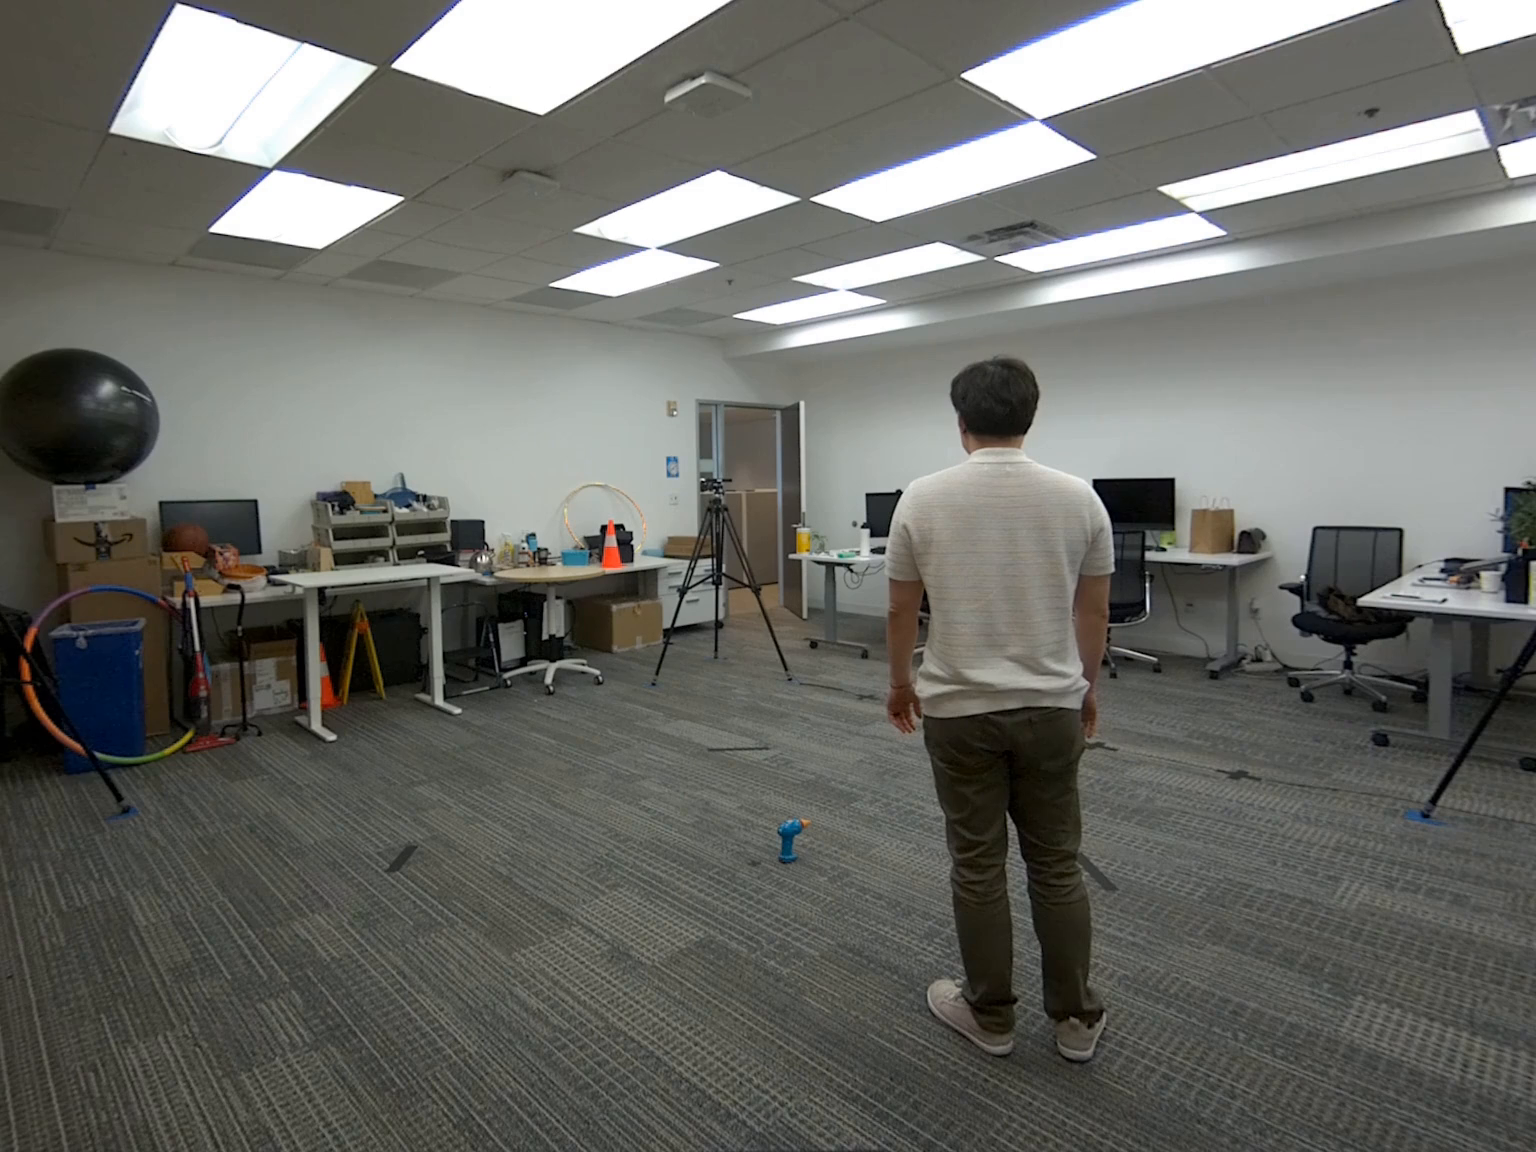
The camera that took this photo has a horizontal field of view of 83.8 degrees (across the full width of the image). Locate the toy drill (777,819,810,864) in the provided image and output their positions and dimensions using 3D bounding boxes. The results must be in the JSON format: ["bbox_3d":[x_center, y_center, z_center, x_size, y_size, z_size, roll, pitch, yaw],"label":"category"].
[{"bbox_3d":[0.104,0.968,3.149,0.165,0.146,0.063,-3,5,-45],"label":"toy drill"}]
